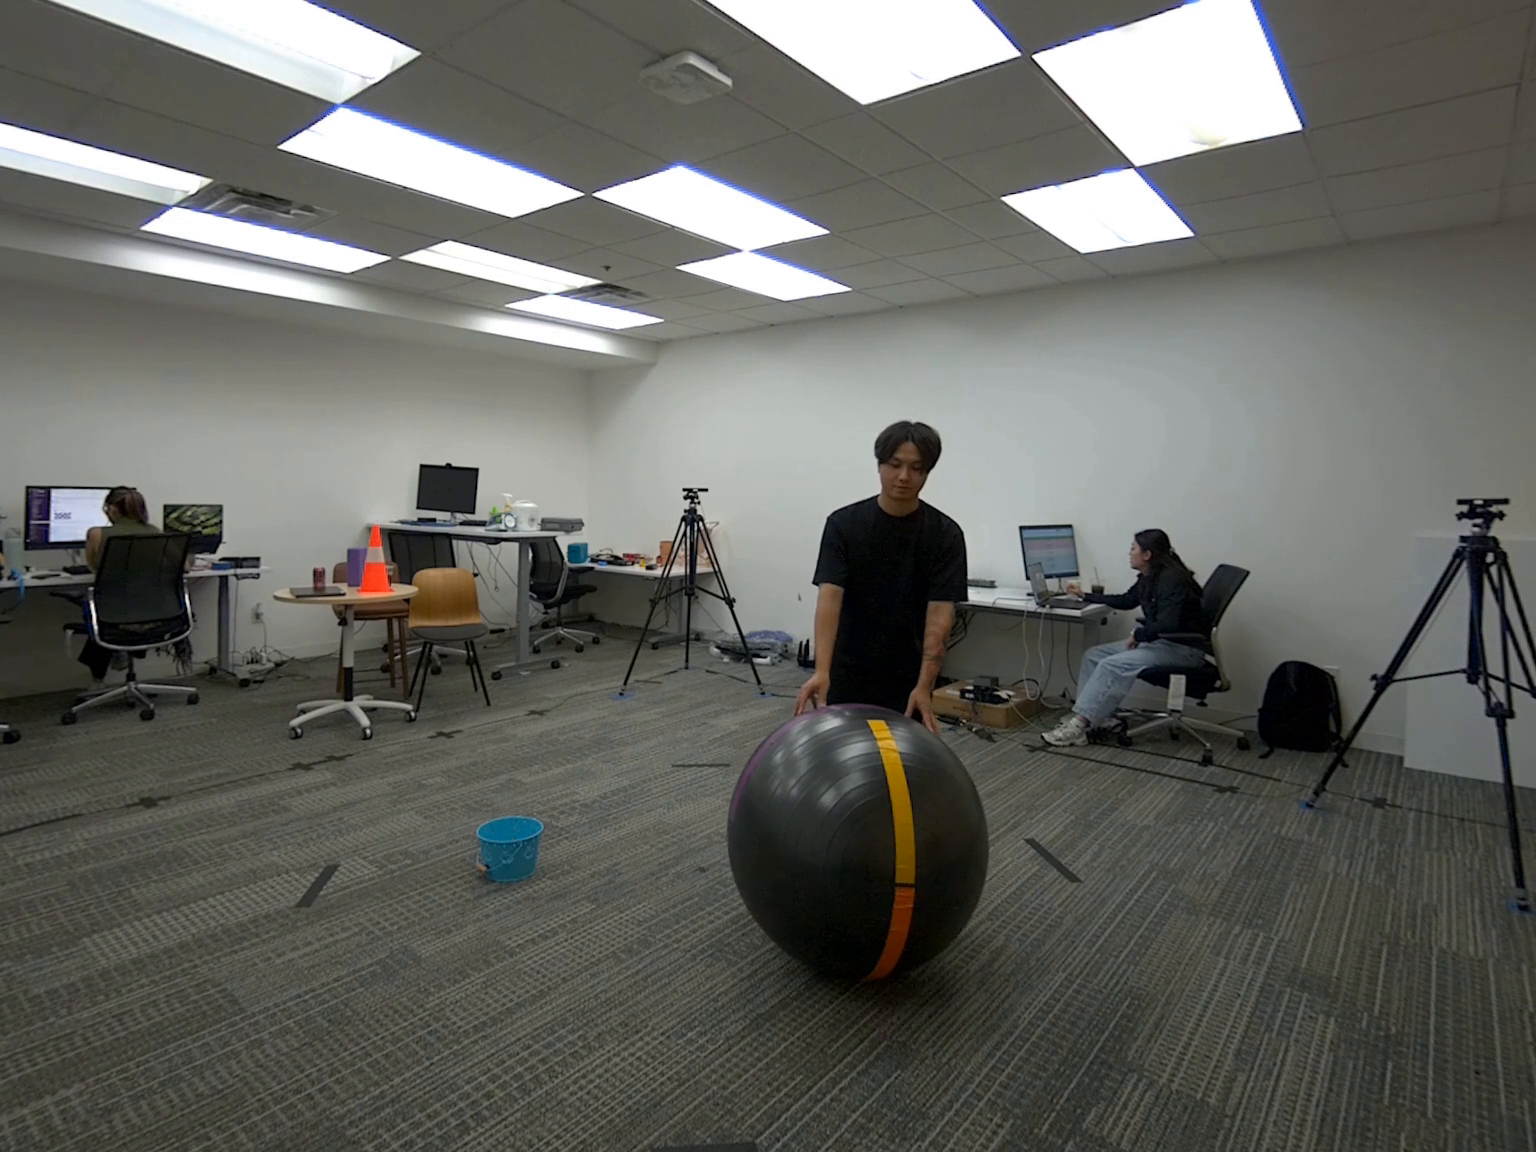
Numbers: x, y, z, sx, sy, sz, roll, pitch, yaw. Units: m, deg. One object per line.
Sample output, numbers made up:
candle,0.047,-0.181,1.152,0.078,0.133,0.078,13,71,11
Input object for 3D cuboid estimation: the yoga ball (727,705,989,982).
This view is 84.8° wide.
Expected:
yoga ball,0.257,0.774,2.505,0.757,0.755,0.762,1,4,-2
